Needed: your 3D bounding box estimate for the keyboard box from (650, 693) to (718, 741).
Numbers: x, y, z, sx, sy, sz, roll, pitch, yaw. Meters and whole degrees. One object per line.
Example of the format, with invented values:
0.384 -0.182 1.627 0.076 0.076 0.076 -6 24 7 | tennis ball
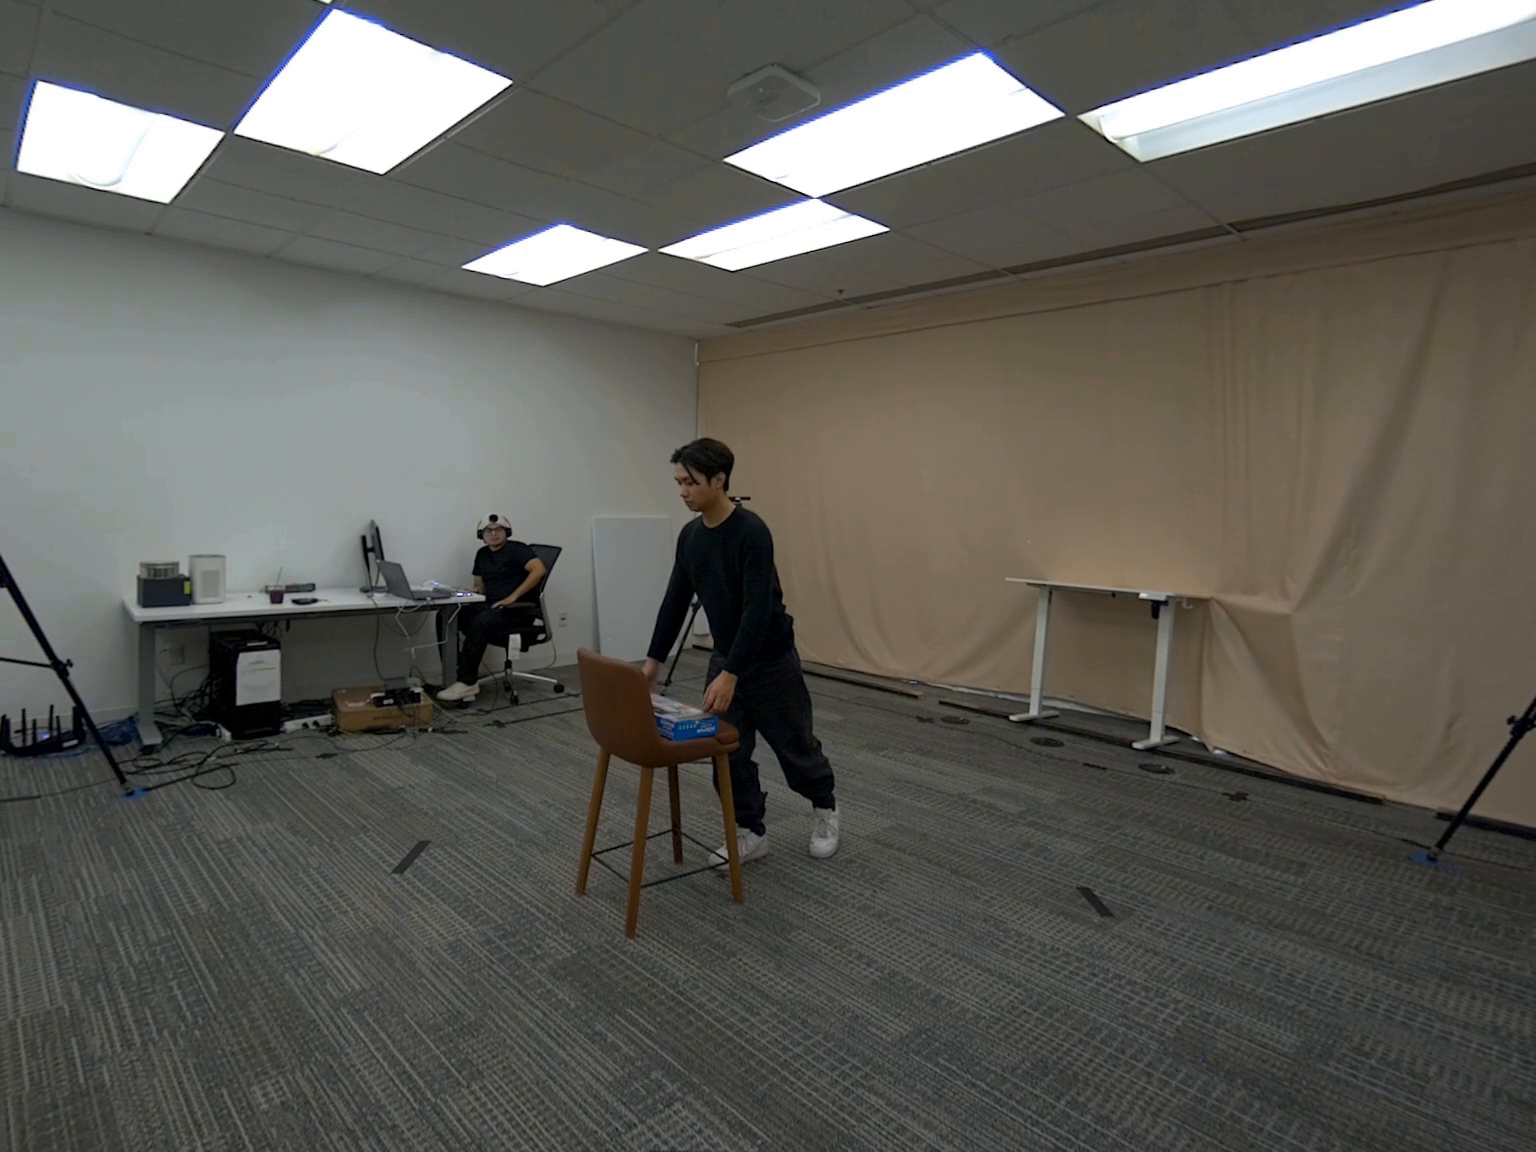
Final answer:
-0.379 0.467 2.897 0.172 0.059 0.448 1 4 -40 | keyboard box
